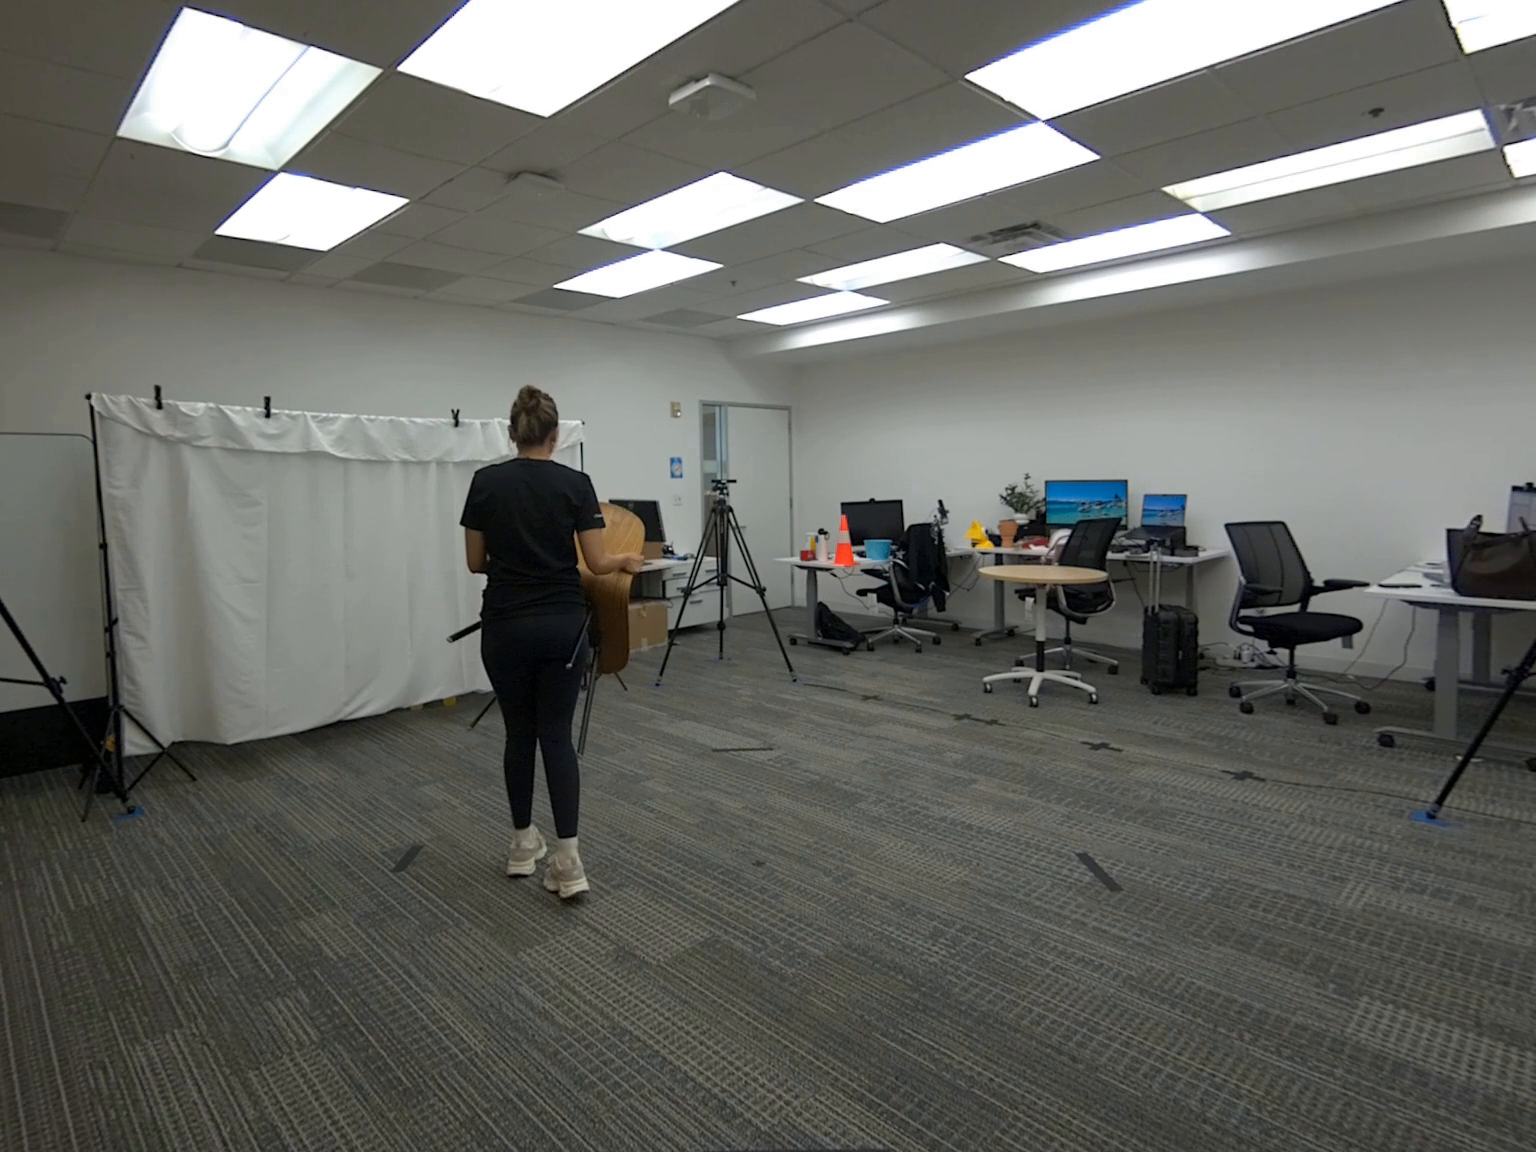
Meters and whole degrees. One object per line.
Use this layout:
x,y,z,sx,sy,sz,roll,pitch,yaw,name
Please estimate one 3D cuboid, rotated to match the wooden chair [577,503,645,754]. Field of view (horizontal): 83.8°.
-0.767,0.171,3.285,0.485,0.509,0.889,9,41,11,wooden chair
